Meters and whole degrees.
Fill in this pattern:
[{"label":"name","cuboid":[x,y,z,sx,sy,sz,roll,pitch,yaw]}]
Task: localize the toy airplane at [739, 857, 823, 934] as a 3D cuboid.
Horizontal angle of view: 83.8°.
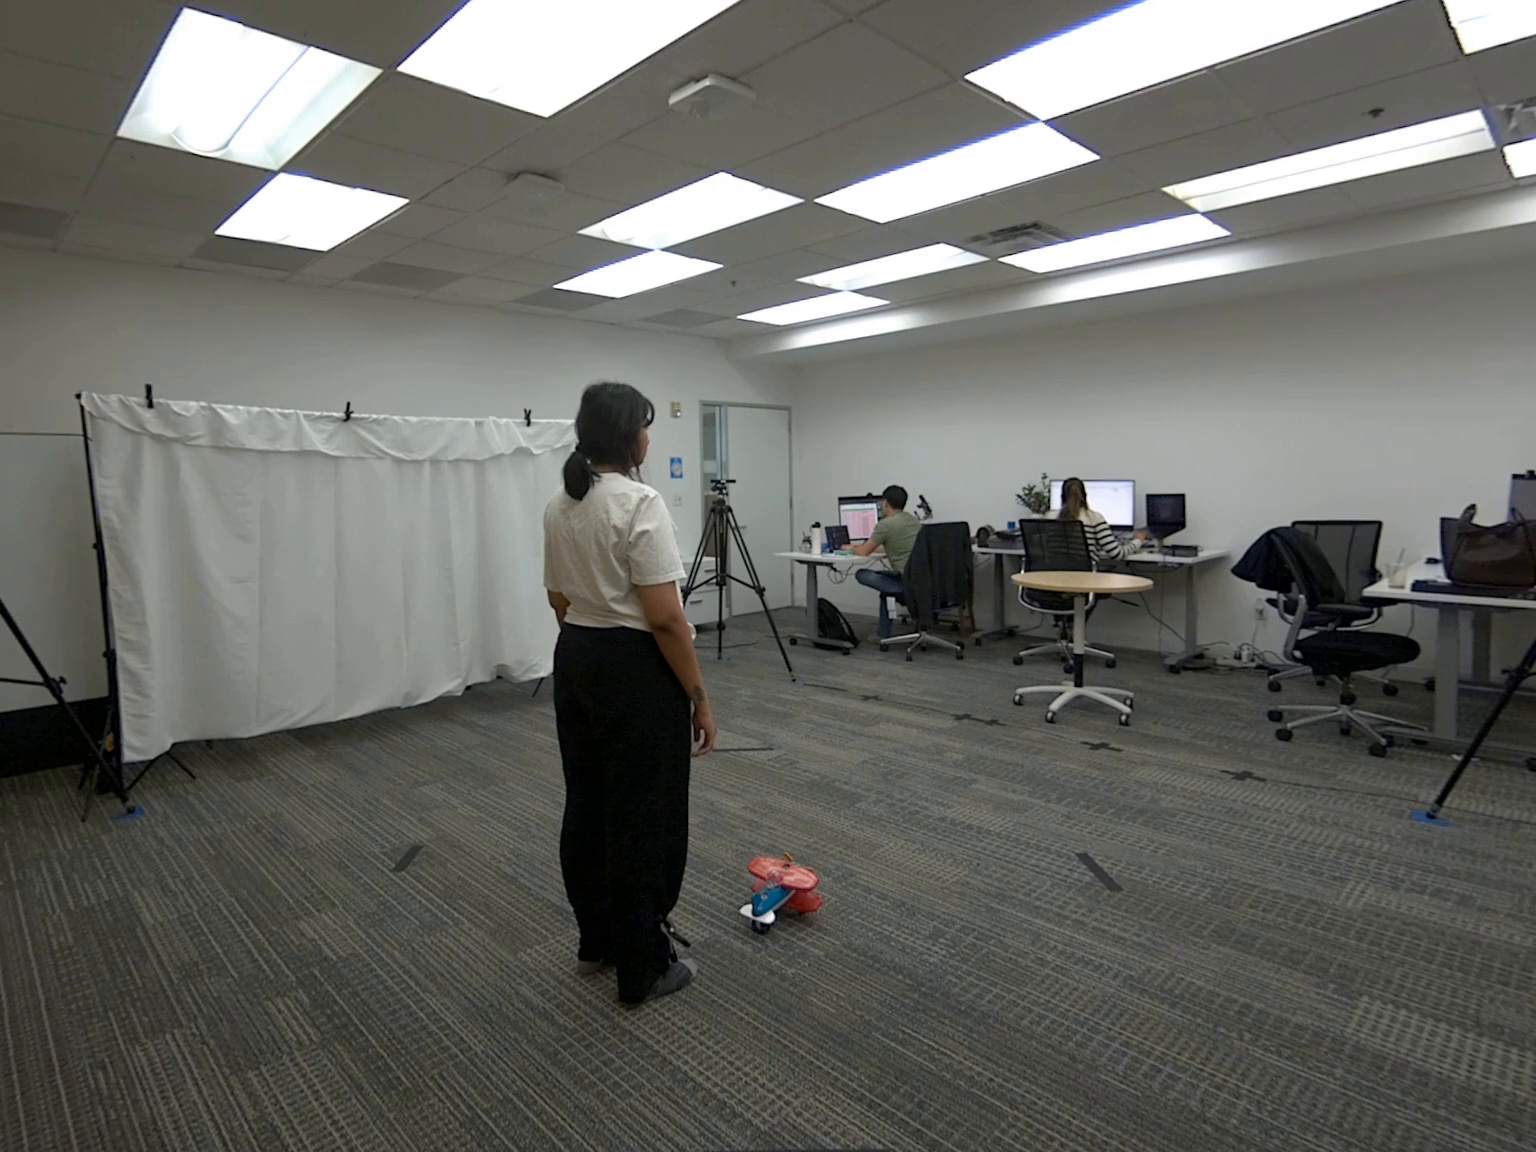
[{"label":"toy airplane","cuboid":[0.051,1.014,2.706,0.254,0.156,0.257,1,5,9]}]
